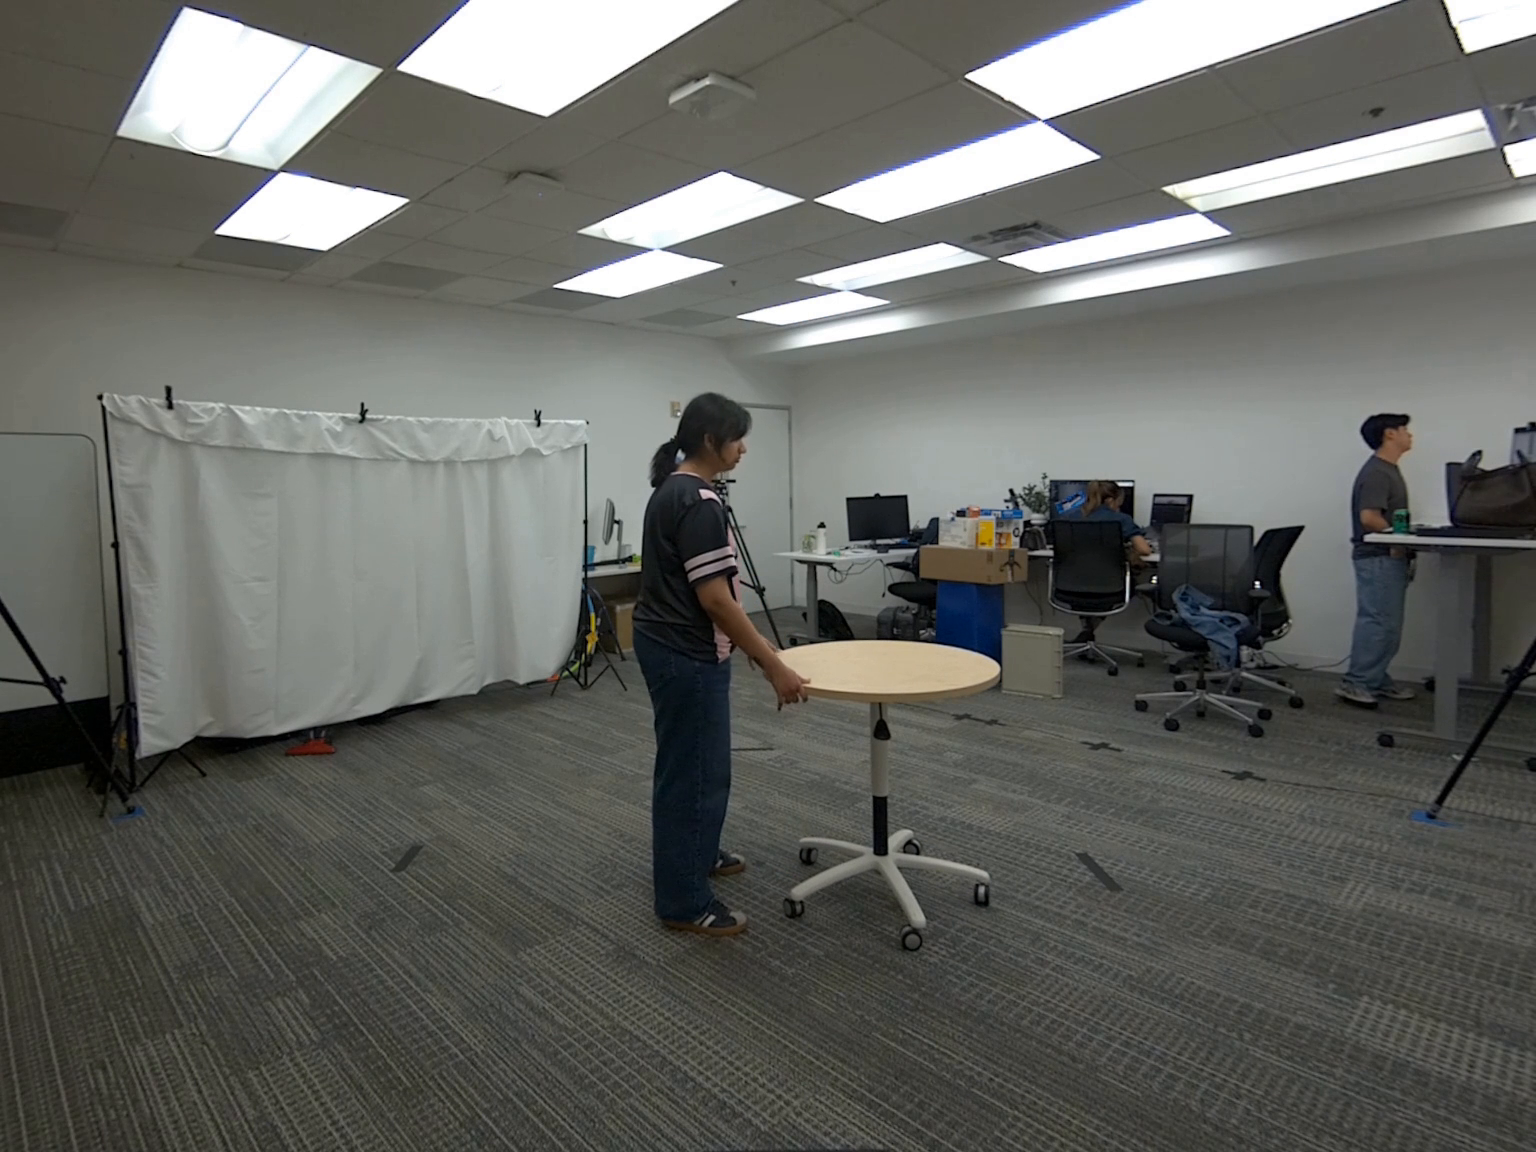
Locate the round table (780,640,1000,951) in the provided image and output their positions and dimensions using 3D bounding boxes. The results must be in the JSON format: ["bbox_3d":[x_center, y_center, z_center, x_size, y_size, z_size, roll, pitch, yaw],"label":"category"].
[{"bbox_3d":[0.381,0.679,2.844,0.763,0.790,0.768,-1,5,-2],"label":"round table"}]
